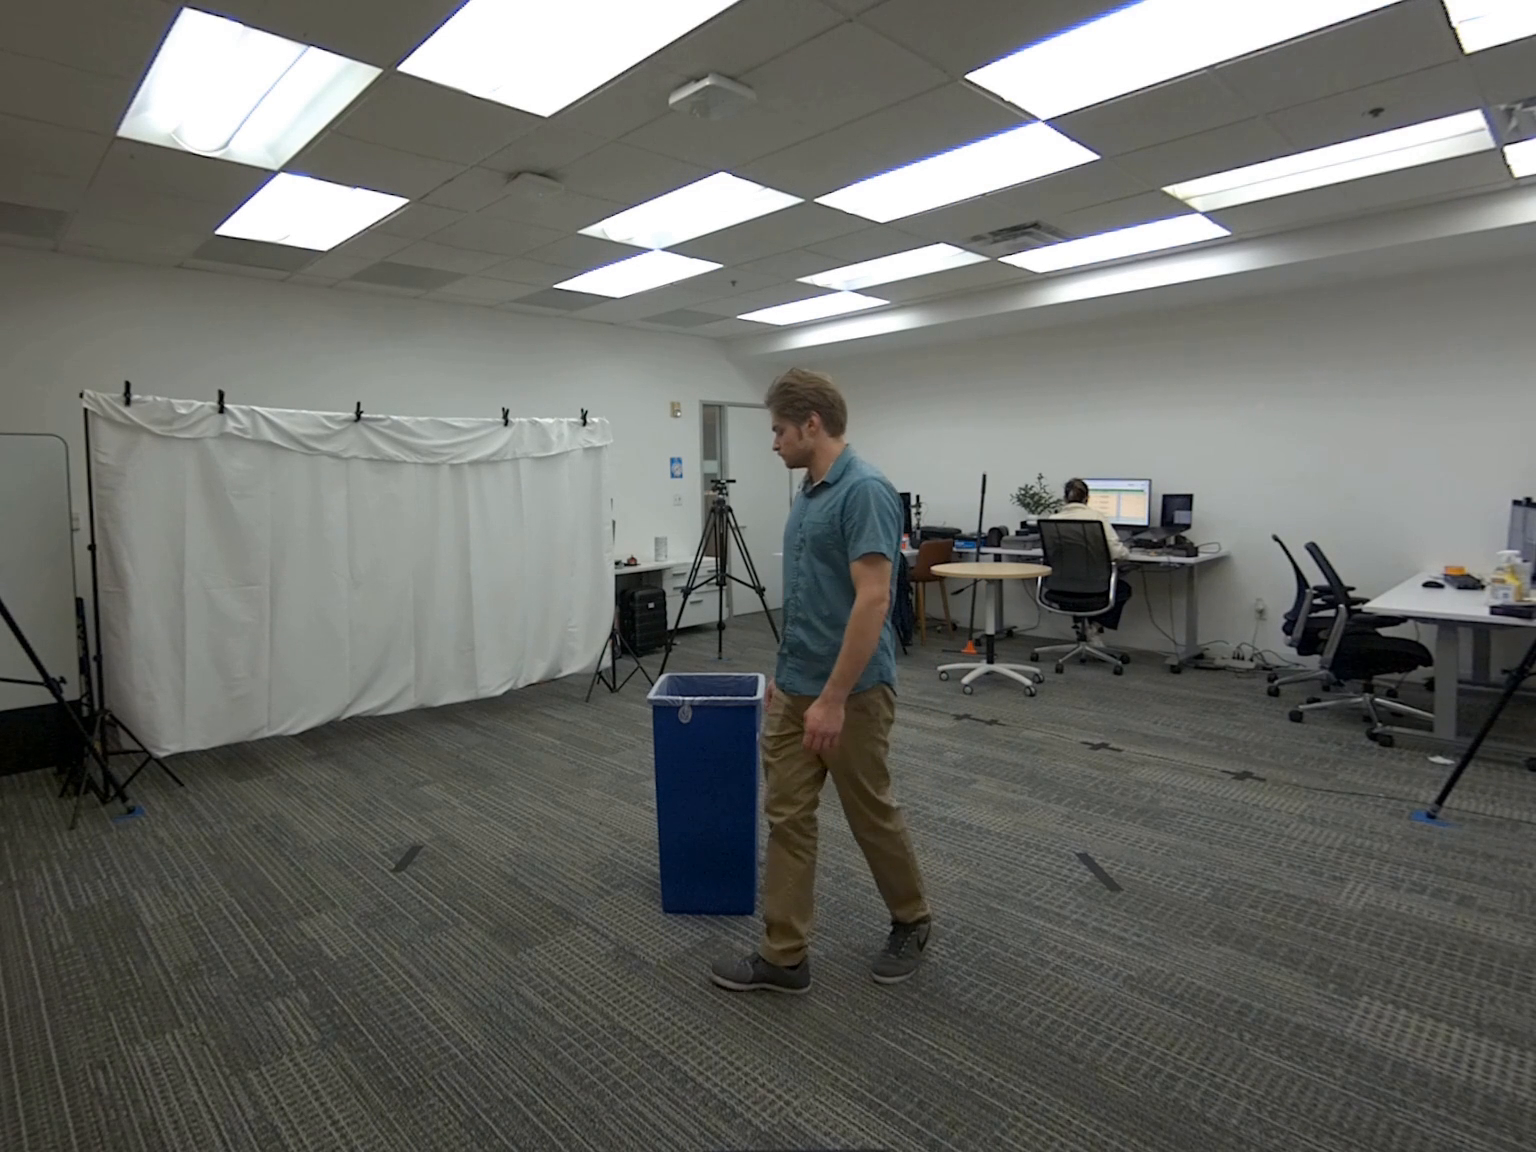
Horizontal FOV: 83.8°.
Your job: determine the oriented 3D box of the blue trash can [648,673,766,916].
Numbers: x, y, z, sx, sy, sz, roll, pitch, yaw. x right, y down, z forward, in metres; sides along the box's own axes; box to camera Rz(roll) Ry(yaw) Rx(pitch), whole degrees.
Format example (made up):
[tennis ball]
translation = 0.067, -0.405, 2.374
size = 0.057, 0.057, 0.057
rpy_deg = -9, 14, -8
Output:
[blue trash can]
translation = -0.183, 0.719, 2.881
size = 0.375, 0.711, 0.378
rpy_deg = -1, 3, 2
